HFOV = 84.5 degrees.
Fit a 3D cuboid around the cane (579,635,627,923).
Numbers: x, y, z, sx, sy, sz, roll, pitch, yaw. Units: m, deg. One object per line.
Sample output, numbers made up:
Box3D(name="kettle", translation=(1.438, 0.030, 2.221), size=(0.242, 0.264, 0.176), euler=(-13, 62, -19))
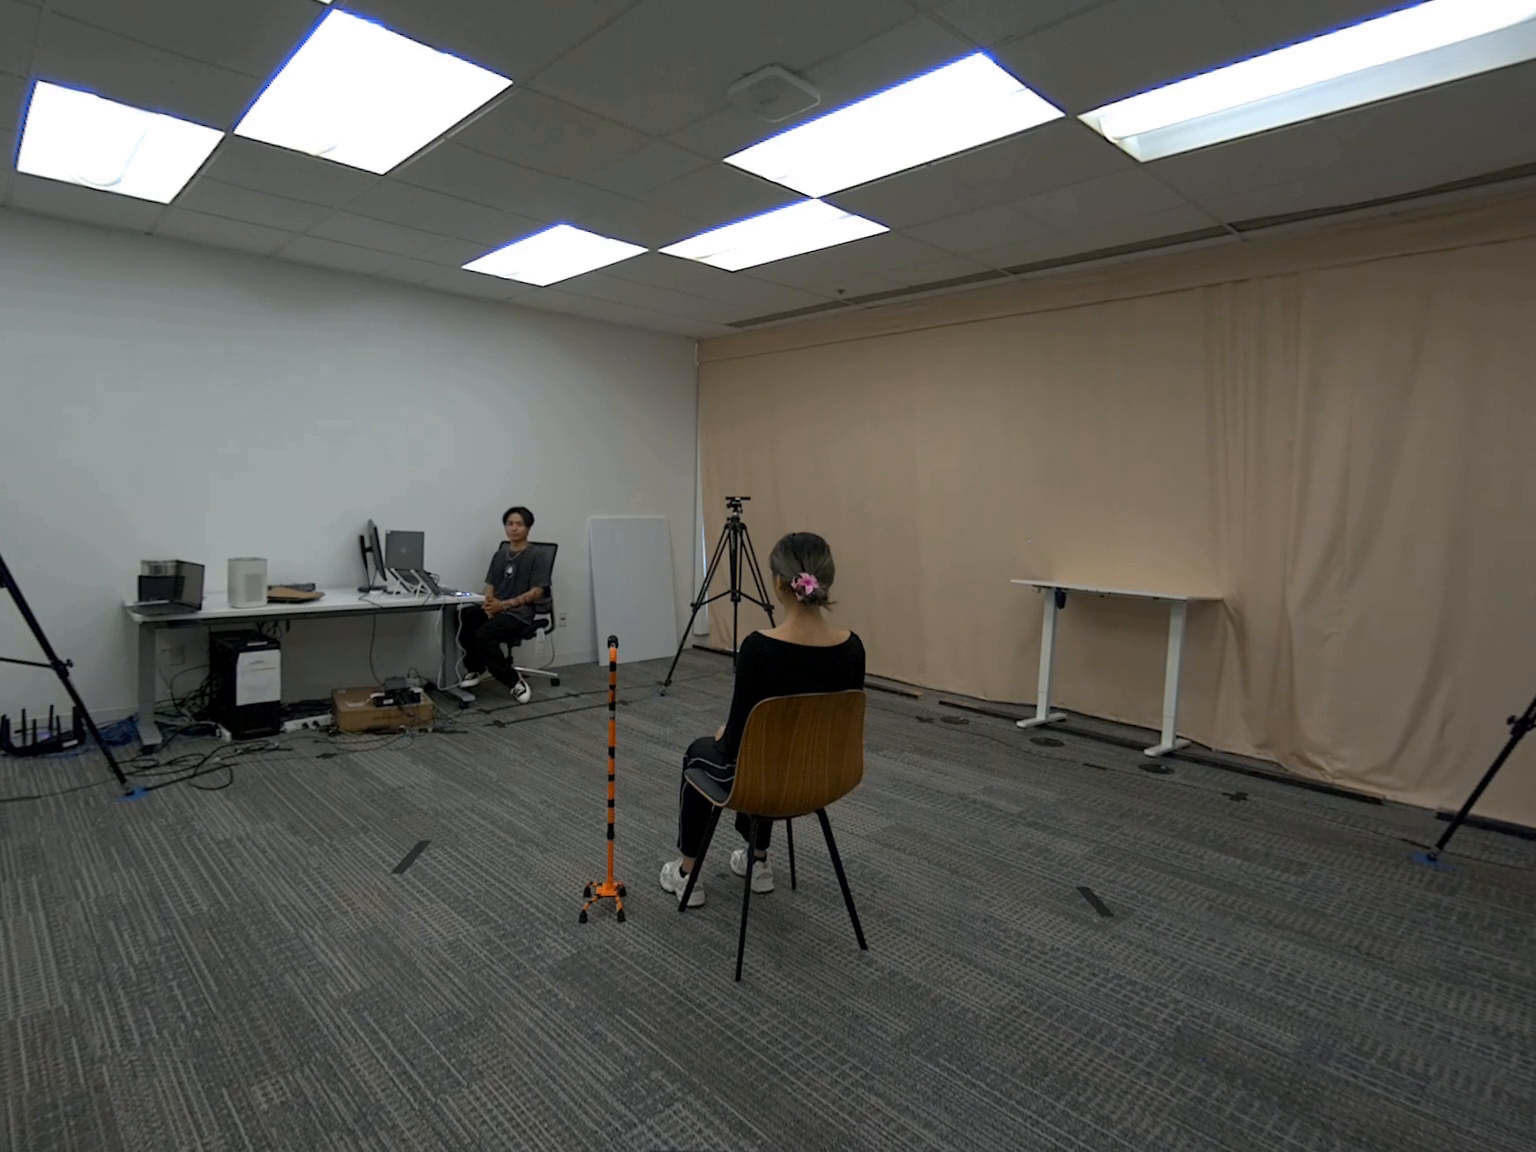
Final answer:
Box3D(name="cane", translation=(-0.541, 0.667, 2.820), size=(0.151, 0.906, 0.208), euler=(1, 3, -8))
